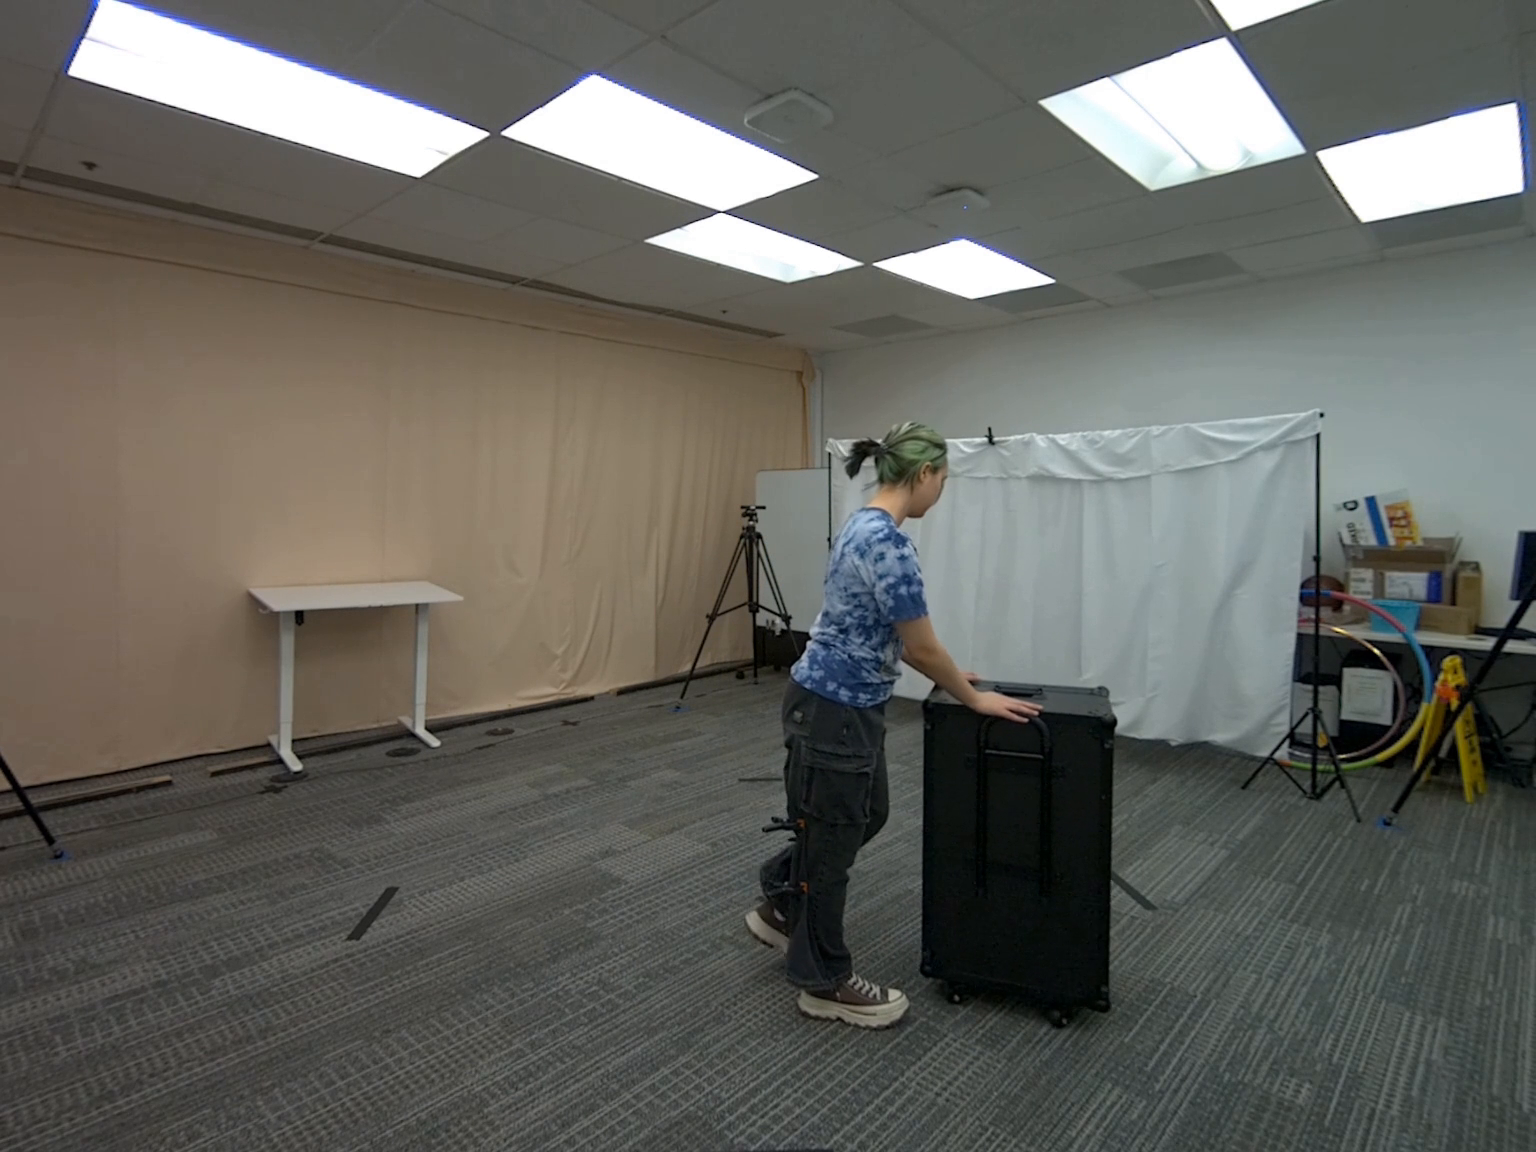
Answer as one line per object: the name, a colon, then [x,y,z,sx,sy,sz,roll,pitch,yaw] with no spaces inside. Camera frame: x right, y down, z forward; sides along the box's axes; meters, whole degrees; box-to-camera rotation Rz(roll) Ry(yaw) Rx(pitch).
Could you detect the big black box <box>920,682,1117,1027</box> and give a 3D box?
big black box: [0.721,0.766,2.406,0.533,0.859,0.388,2,4,22]
